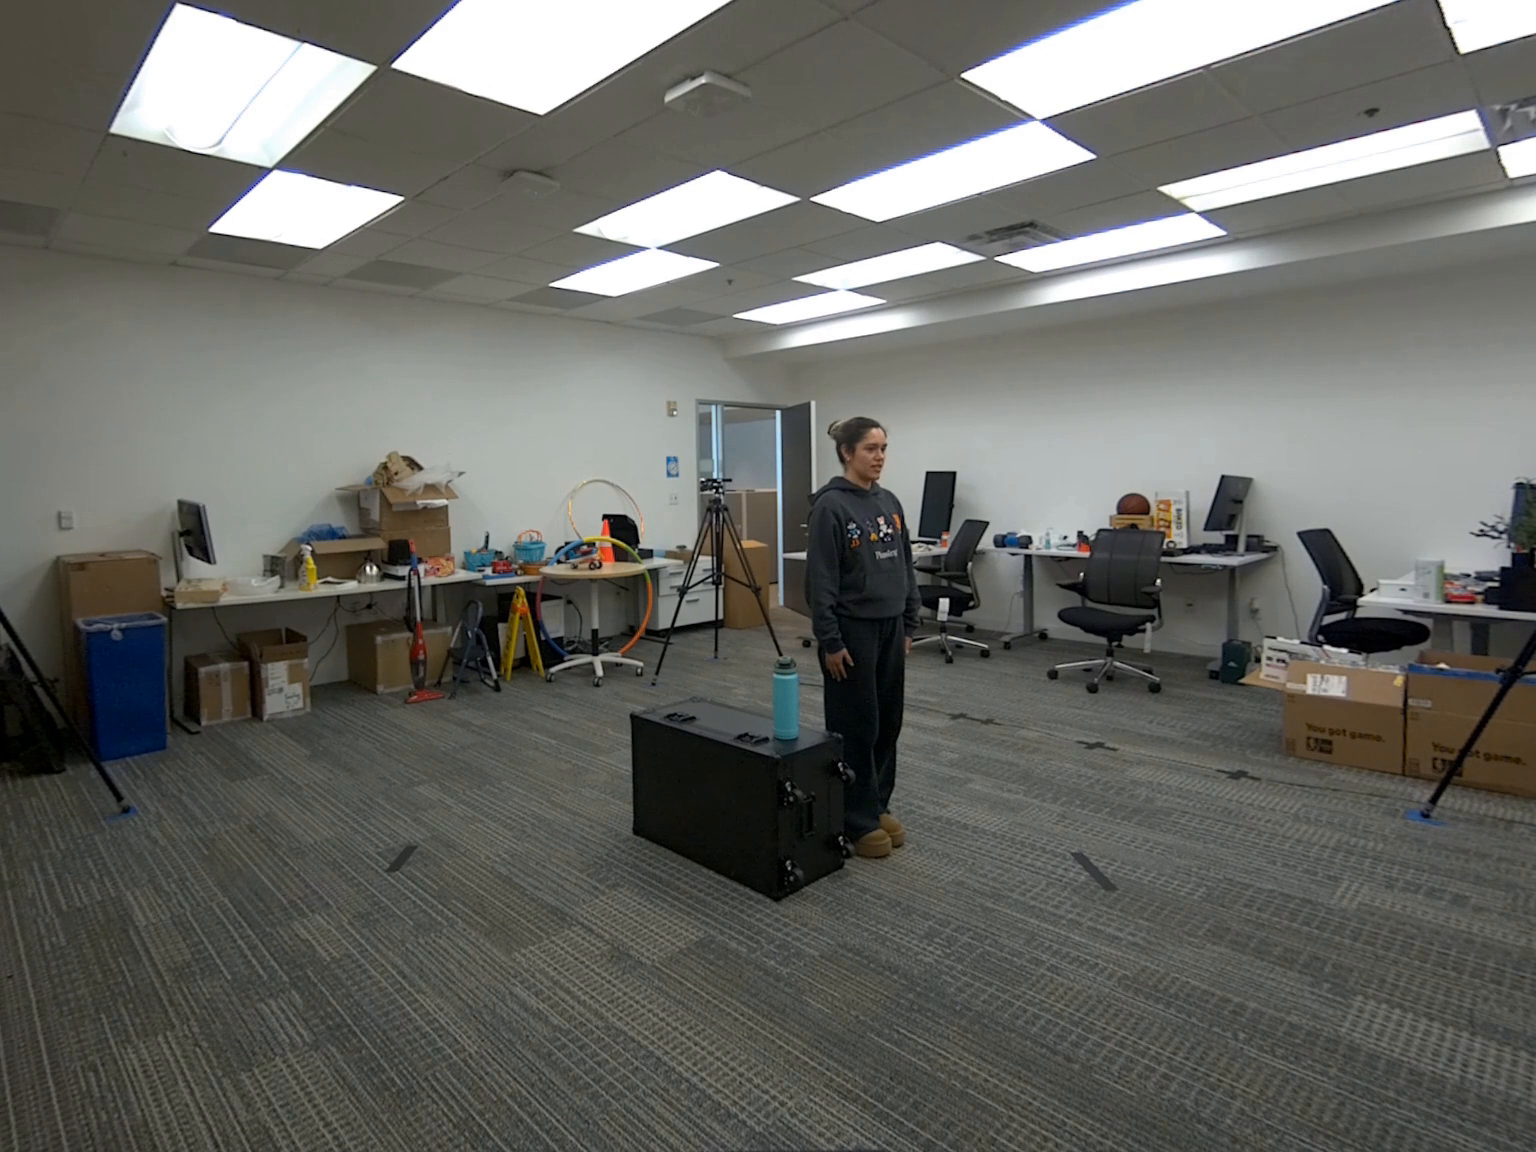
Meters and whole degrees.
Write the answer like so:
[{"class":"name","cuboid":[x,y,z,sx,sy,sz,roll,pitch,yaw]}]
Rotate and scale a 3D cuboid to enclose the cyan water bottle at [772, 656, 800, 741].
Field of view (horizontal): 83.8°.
[{"class":"cyan water bottle","cuboid":[0.065,0.429,3.017,0.092,0.282,0.093,-2,3,-1]}]
